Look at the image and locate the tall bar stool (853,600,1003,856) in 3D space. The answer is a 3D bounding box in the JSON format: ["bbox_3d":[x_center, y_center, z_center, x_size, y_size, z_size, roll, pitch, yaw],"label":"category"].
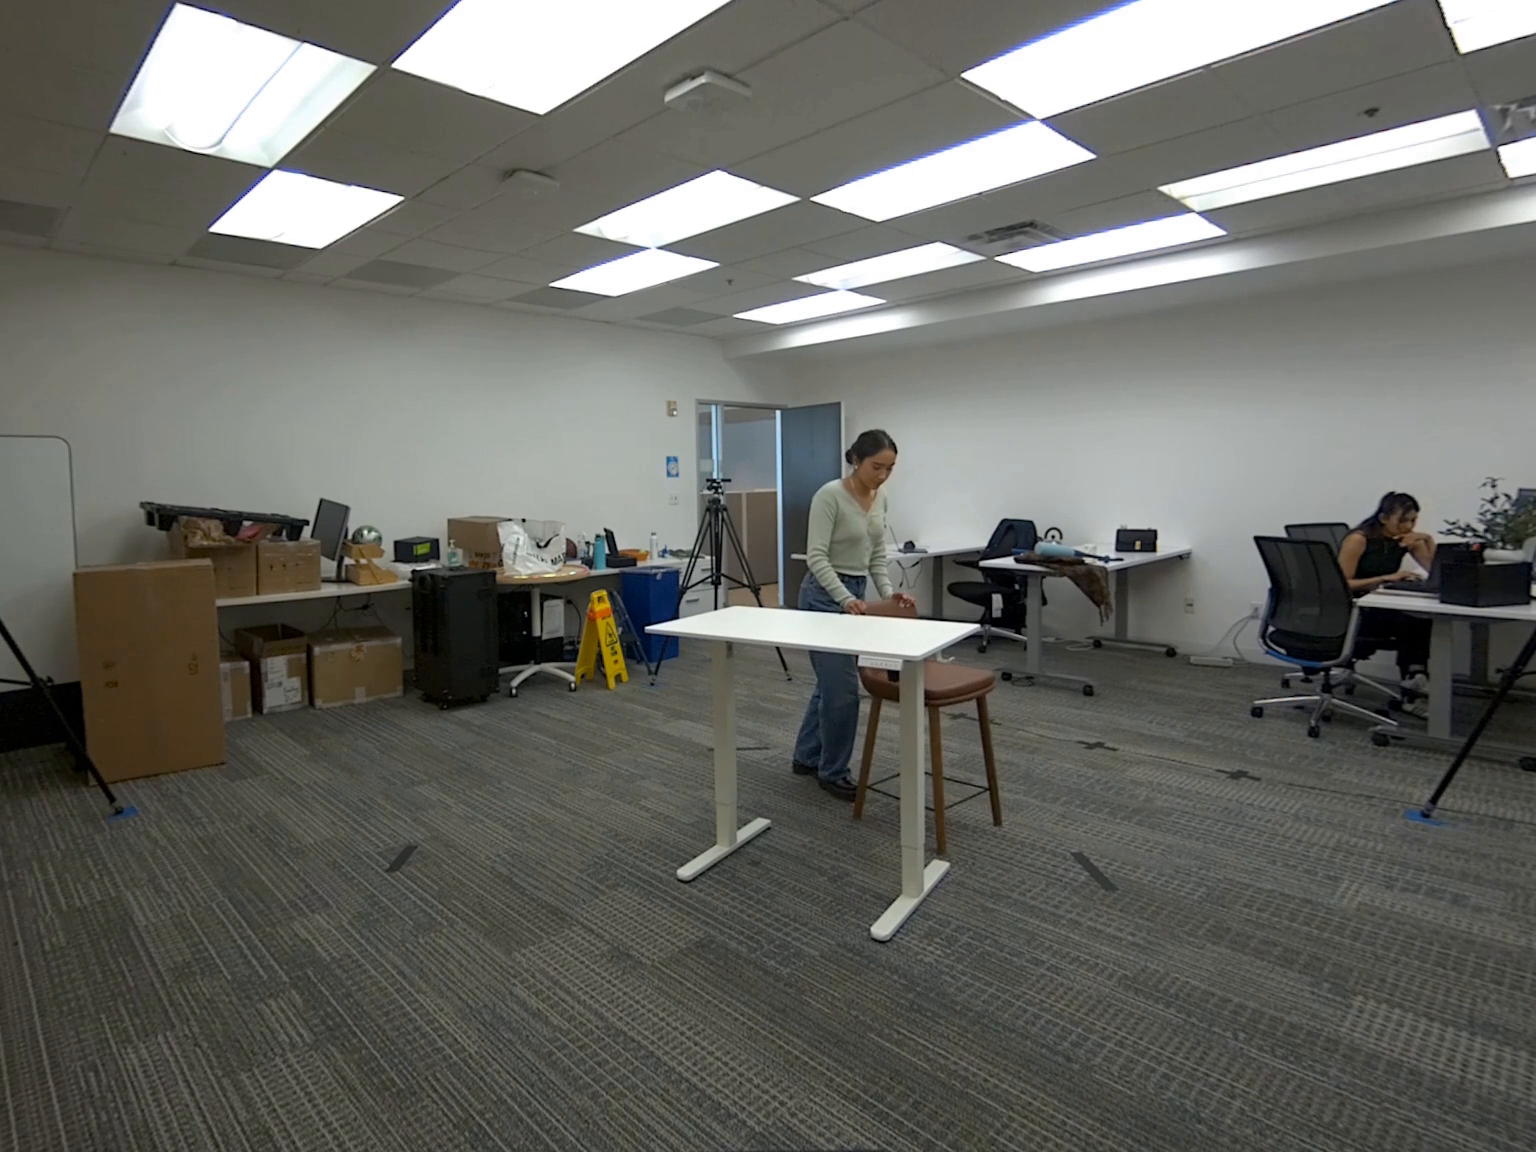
[{"bbox_3d":[0.625,0.557,3.432,0.444,0.888,0.481,-4,3,-42],"label":"tall bar stool"}]
